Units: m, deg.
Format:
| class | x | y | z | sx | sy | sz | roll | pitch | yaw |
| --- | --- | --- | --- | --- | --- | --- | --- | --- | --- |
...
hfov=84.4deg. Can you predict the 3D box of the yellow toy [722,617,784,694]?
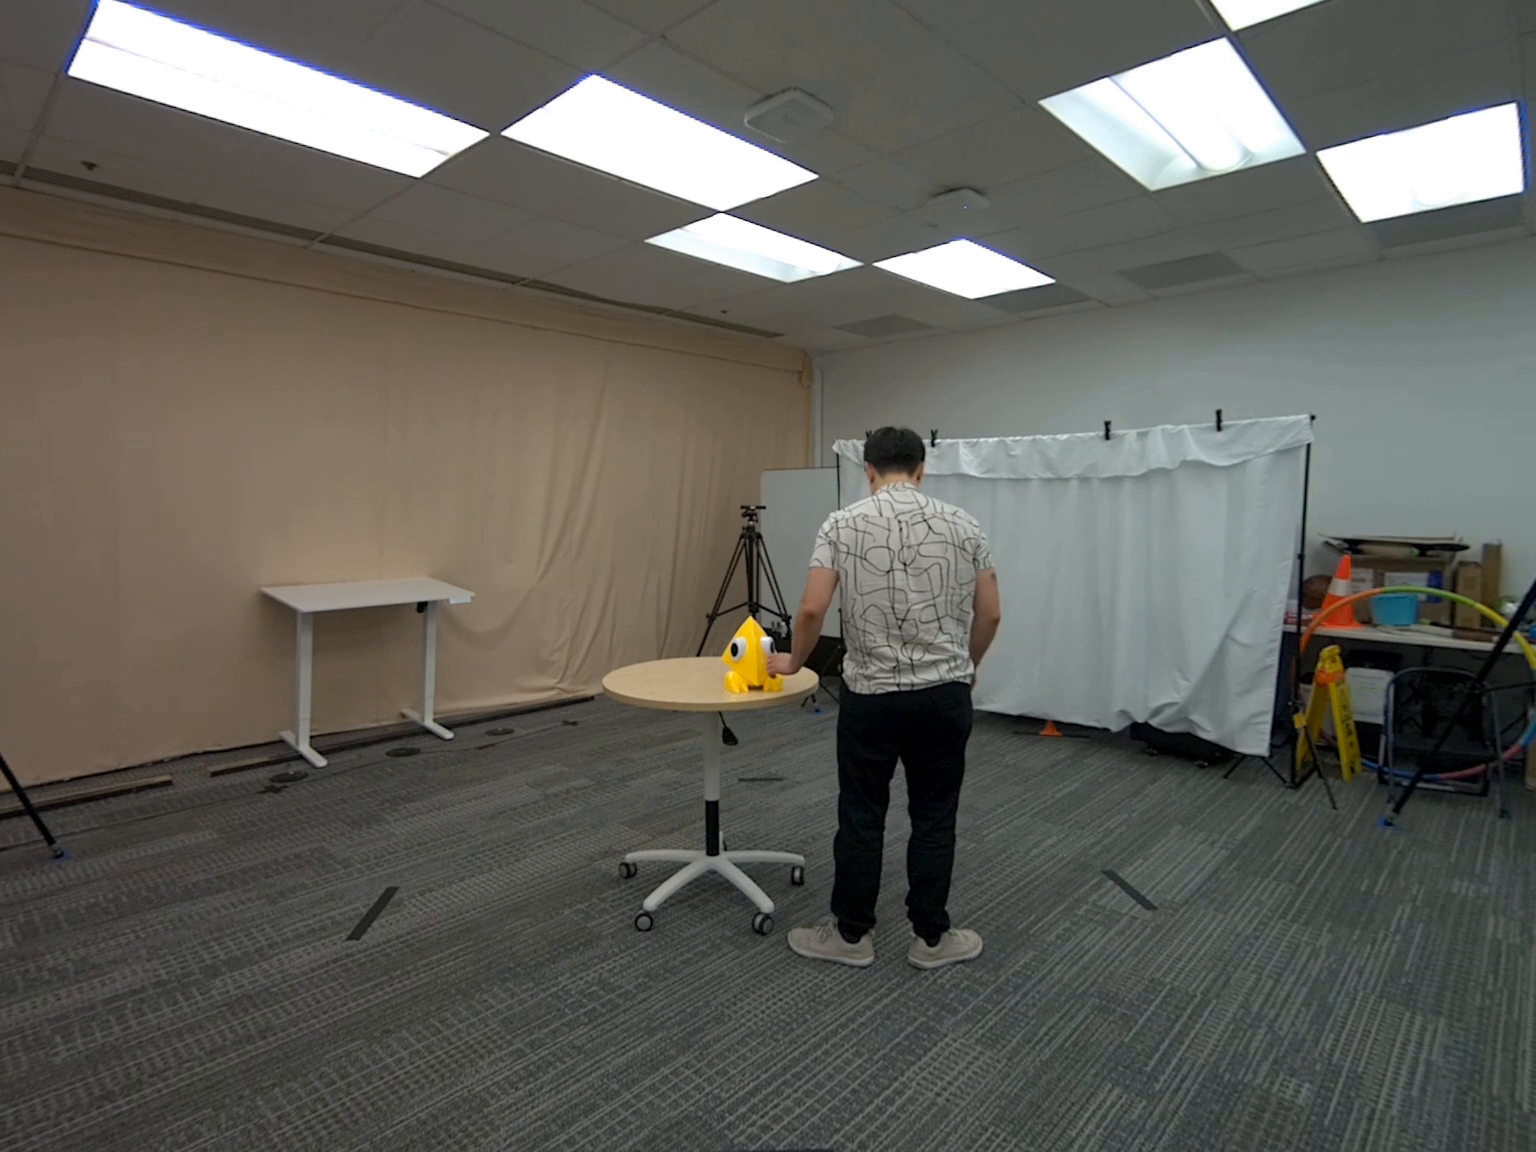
| class | x | y | z | sx | sy | sz | roll | pitch | yaw |
| --- | --- | --- | --- | --- | --- | --- | --- | --- | --- |
| yellow toy | -0.044 | 0.260 | 2.830 | 0.204 | 0.230 | 0.194 | 1 | 4 | -6 |
